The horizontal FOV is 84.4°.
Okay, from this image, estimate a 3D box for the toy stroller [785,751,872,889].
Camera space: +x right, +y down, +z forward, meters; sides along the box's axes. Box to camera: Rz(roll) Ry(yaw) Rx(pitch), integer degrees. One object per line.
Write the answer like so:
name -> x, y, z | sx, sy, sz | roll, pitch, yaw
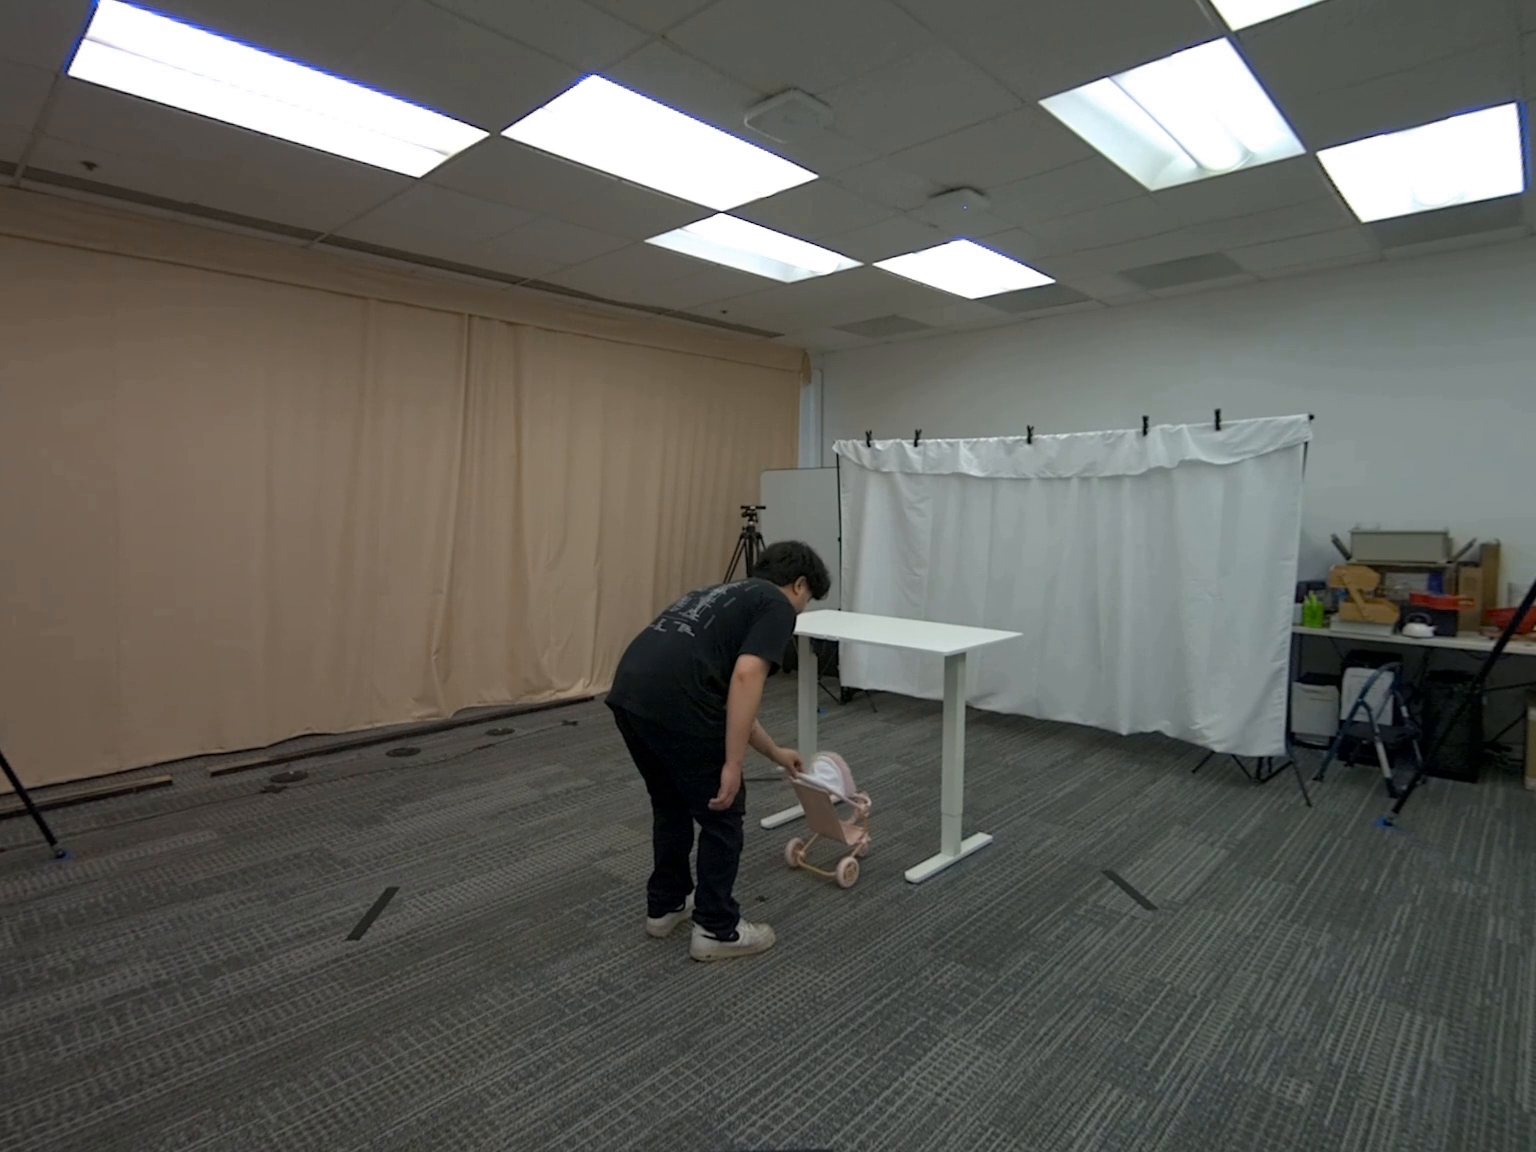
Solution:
toy stroller -> 0.245, 0.898, 3.191 | 0.334, 0.529, 0.291 | -23, 18, -39
